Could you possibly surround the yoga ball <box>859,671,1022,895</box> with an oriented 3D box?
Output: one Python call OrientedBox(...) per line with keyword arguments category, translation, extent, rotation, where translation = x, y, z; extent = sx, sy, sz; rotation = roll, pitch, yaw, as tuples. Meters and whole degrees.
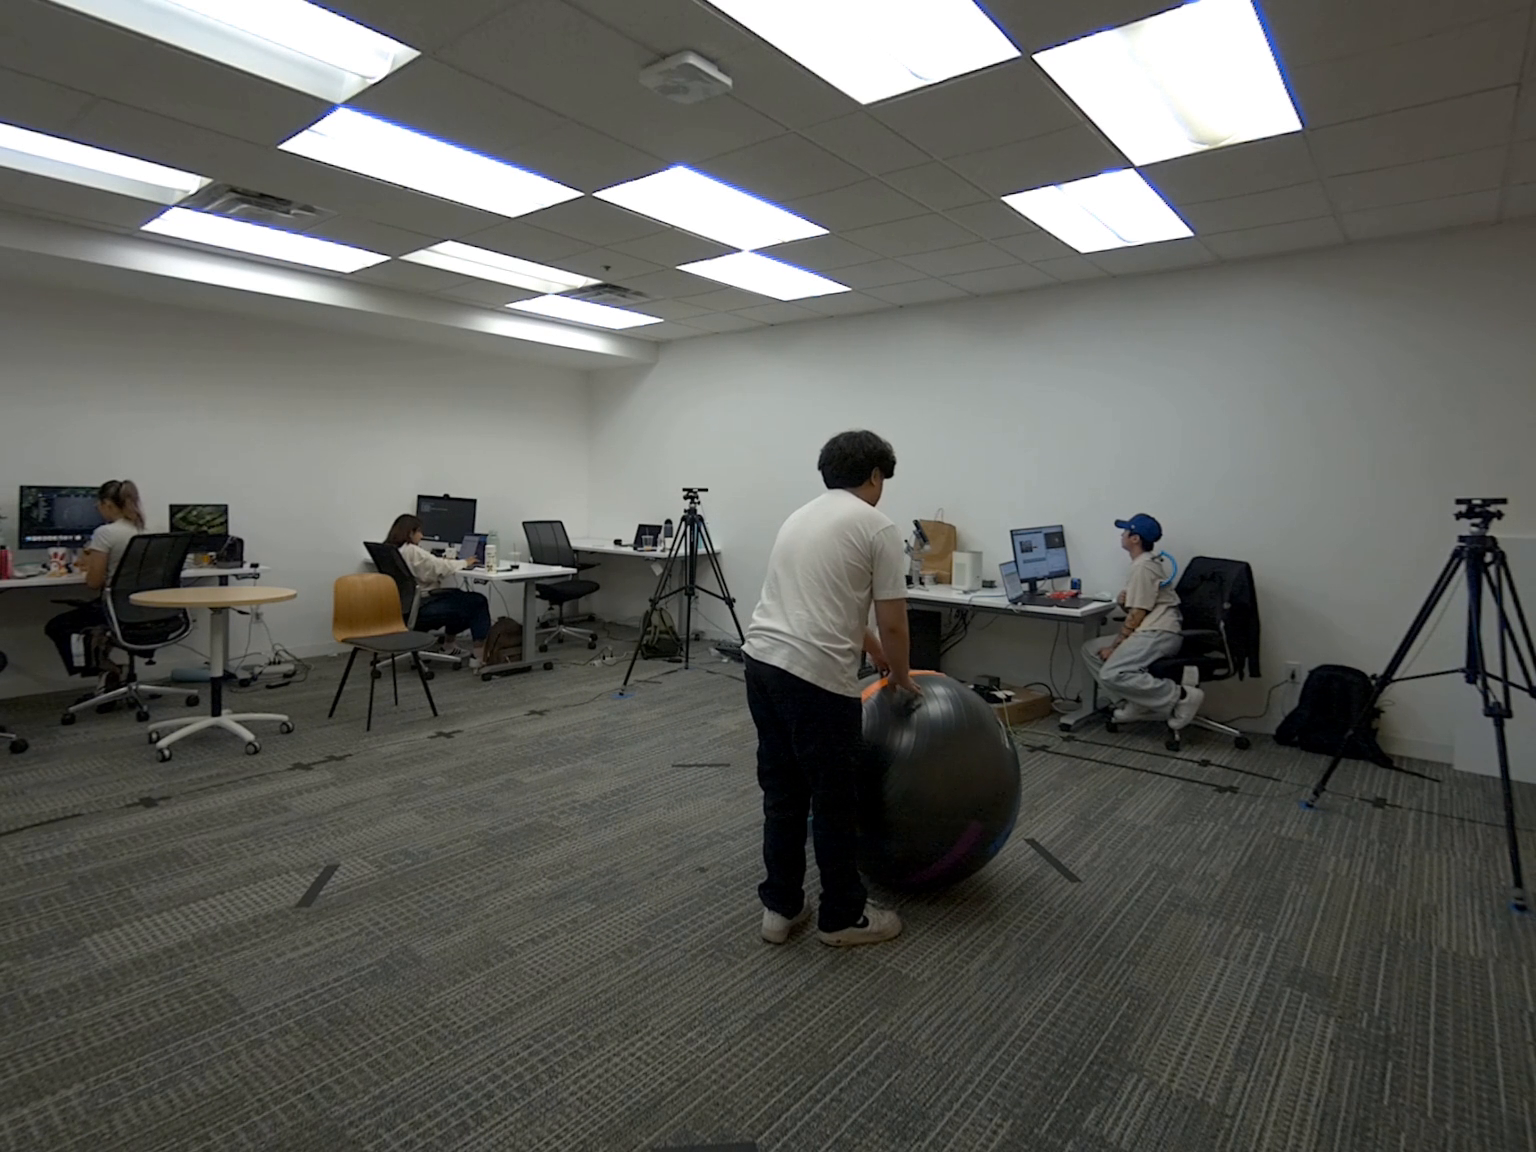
OrientedBox(category="yoga ball", translation=(0.522, 0.724, 3.072), extent=(0.757, 0.755, 0.762), rotation=(1, 4, -2))
